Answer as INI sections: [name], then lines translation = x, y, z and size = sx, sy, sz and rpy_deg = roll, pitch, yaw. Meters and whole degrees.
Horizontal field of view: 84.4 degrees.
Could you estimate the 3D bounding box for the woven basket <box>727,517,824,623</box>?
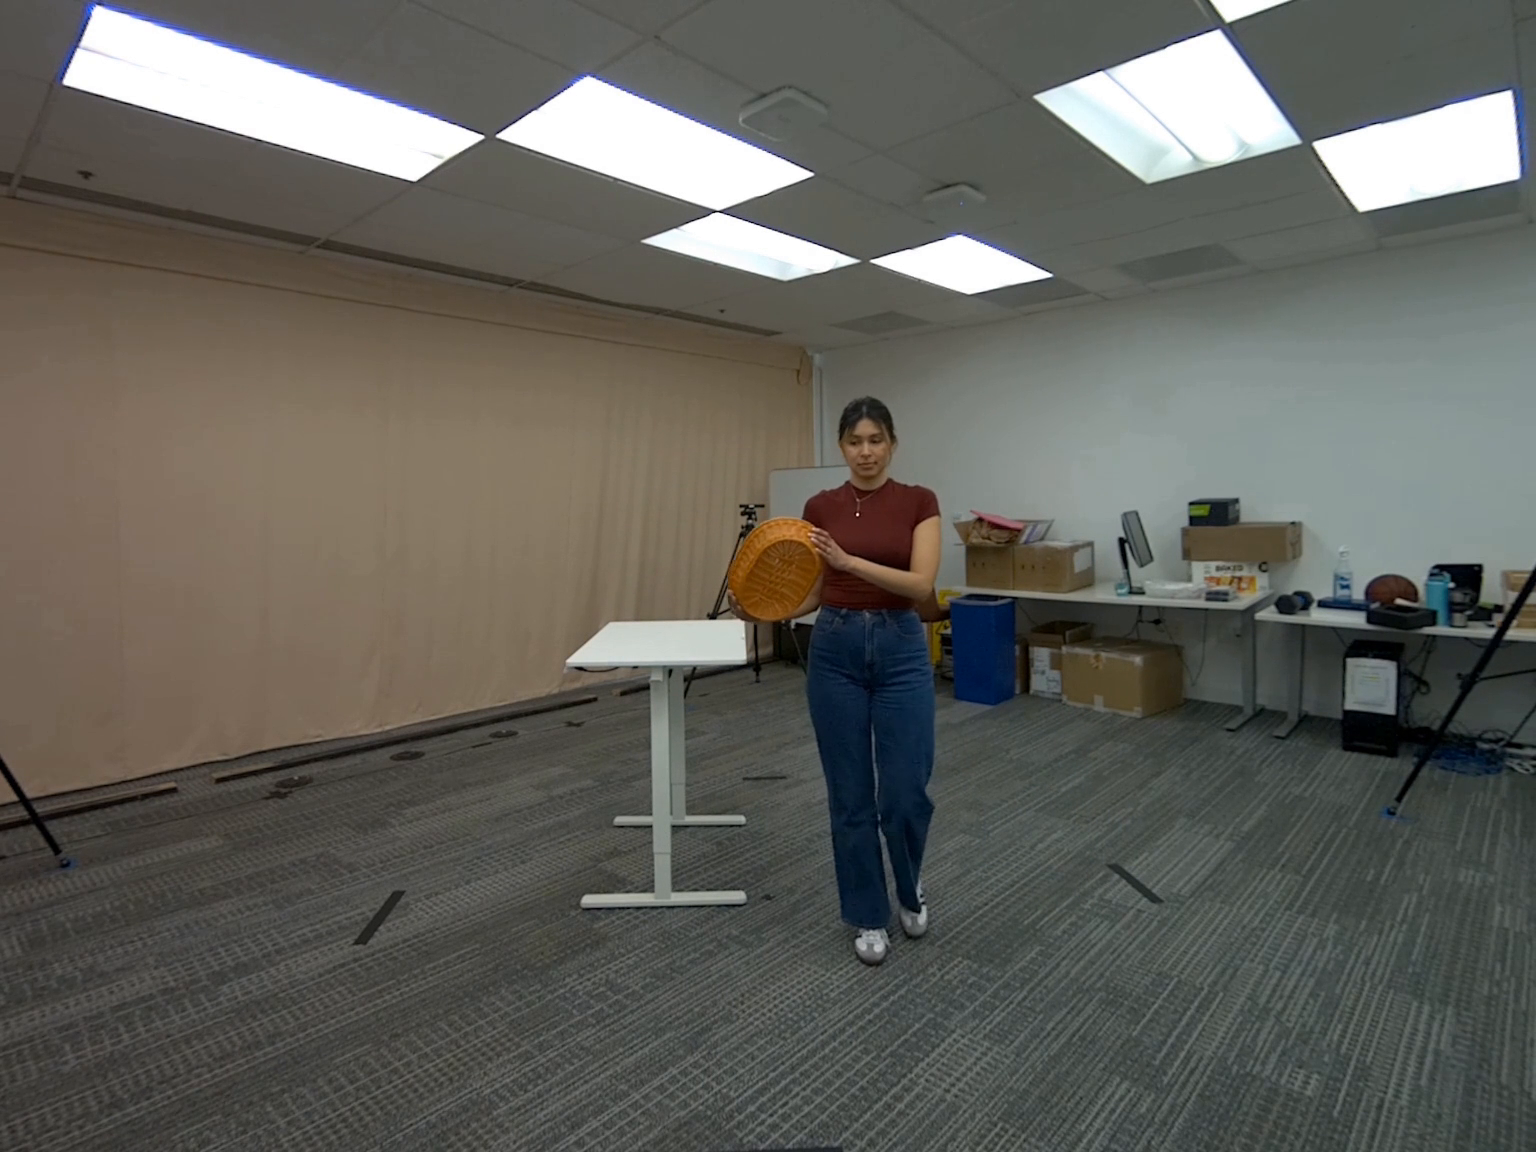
[woven basket]
translation = 0.034, 0.001, 2.417
size = 0.250, 0.349, 0.074
rpy_deg = 19, 32, -7
